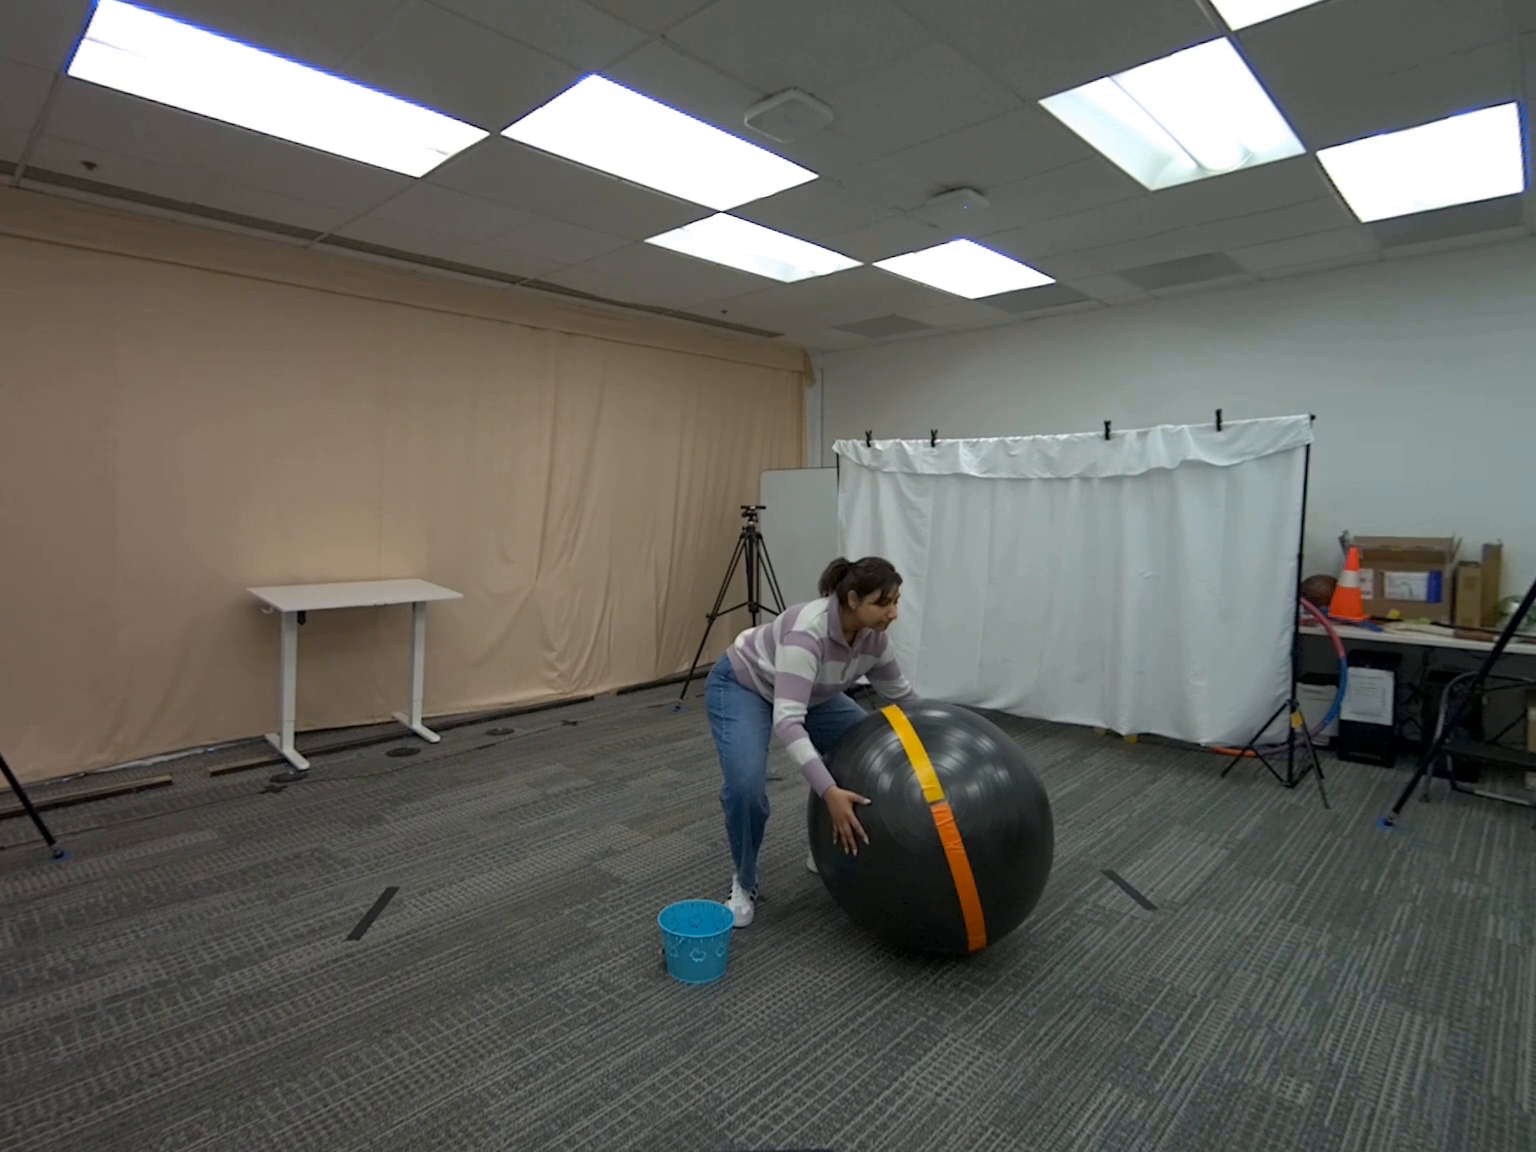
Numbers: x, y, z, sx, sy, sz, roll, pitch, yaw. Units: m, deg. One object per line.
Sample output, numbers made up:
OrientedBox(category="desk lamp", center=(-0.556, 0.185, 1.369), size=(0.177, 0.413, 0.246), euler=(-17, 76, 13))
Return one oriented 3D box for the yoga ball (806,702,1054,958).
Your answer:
OrientedBox(category="yoga ball", center=(0.521, 0.784, 2.662), size=(0.757, 0.756, 0.761), euler=(0, 4, -2))
